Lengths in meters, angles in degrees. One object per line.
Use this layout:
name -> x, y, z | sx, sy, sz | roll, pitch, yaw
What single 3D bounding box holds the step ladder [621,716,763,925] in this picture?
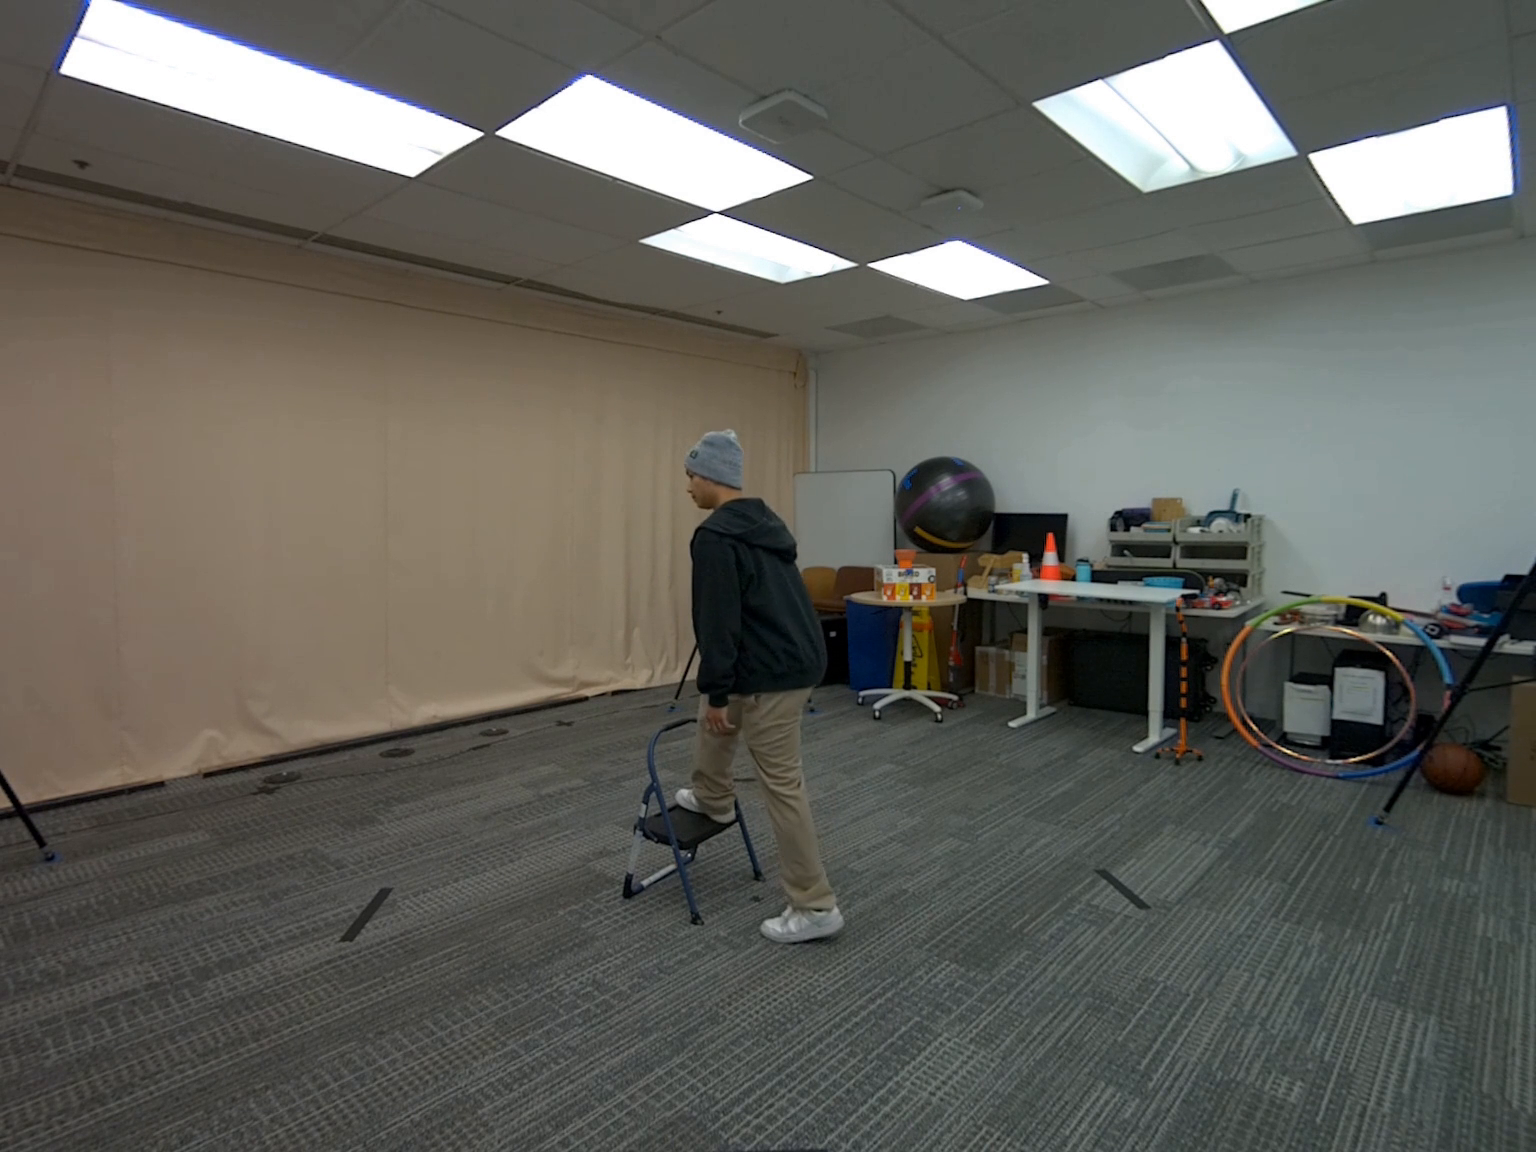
step ladder -> -0.270, 0.838, 3.055 | 0.360, 0.605, 0.419 | 1, 3, 32
